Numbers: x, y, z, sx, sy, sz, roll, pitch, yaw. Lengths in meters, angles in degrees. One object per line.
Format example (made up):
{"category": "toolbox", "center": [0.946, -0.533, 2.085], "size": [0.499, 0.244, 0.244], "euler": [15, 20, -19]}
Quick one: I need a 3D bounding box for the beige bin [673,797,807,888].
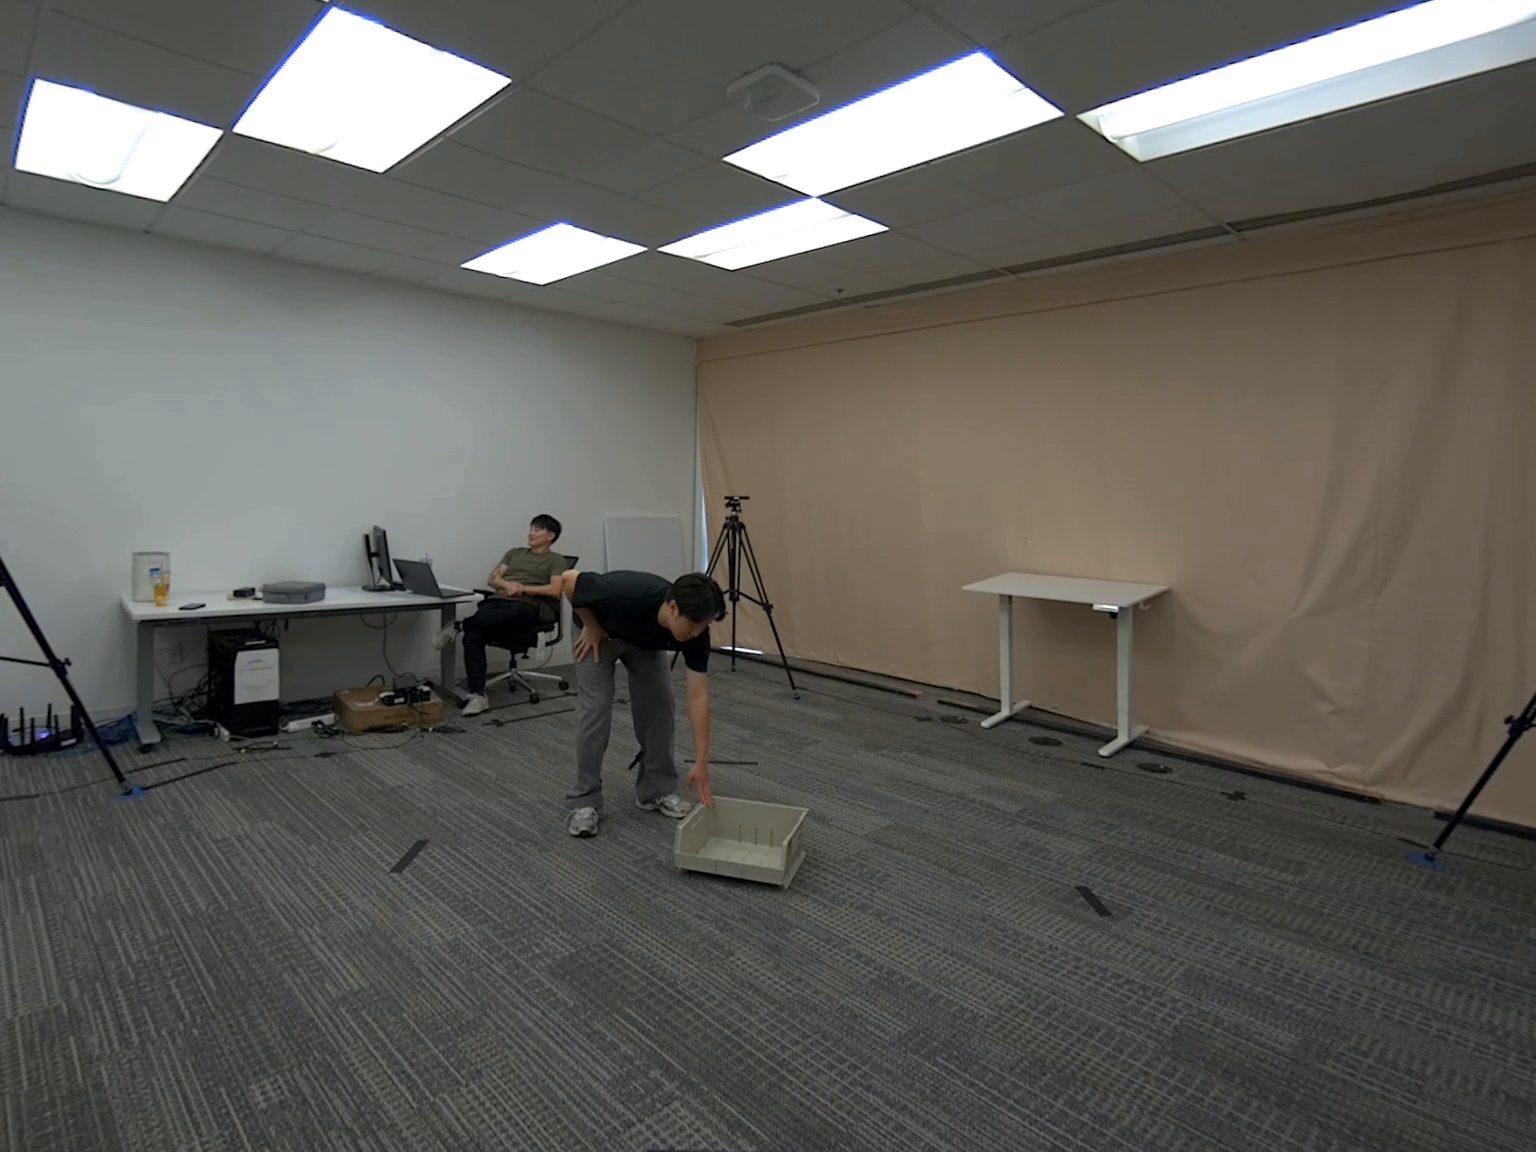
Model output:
{"category": "beige bin", "center": [-0.097, 1.010, 3.187], "size": [0.428, 0.188, 0.373], "euler": [2, 4, 16]}
